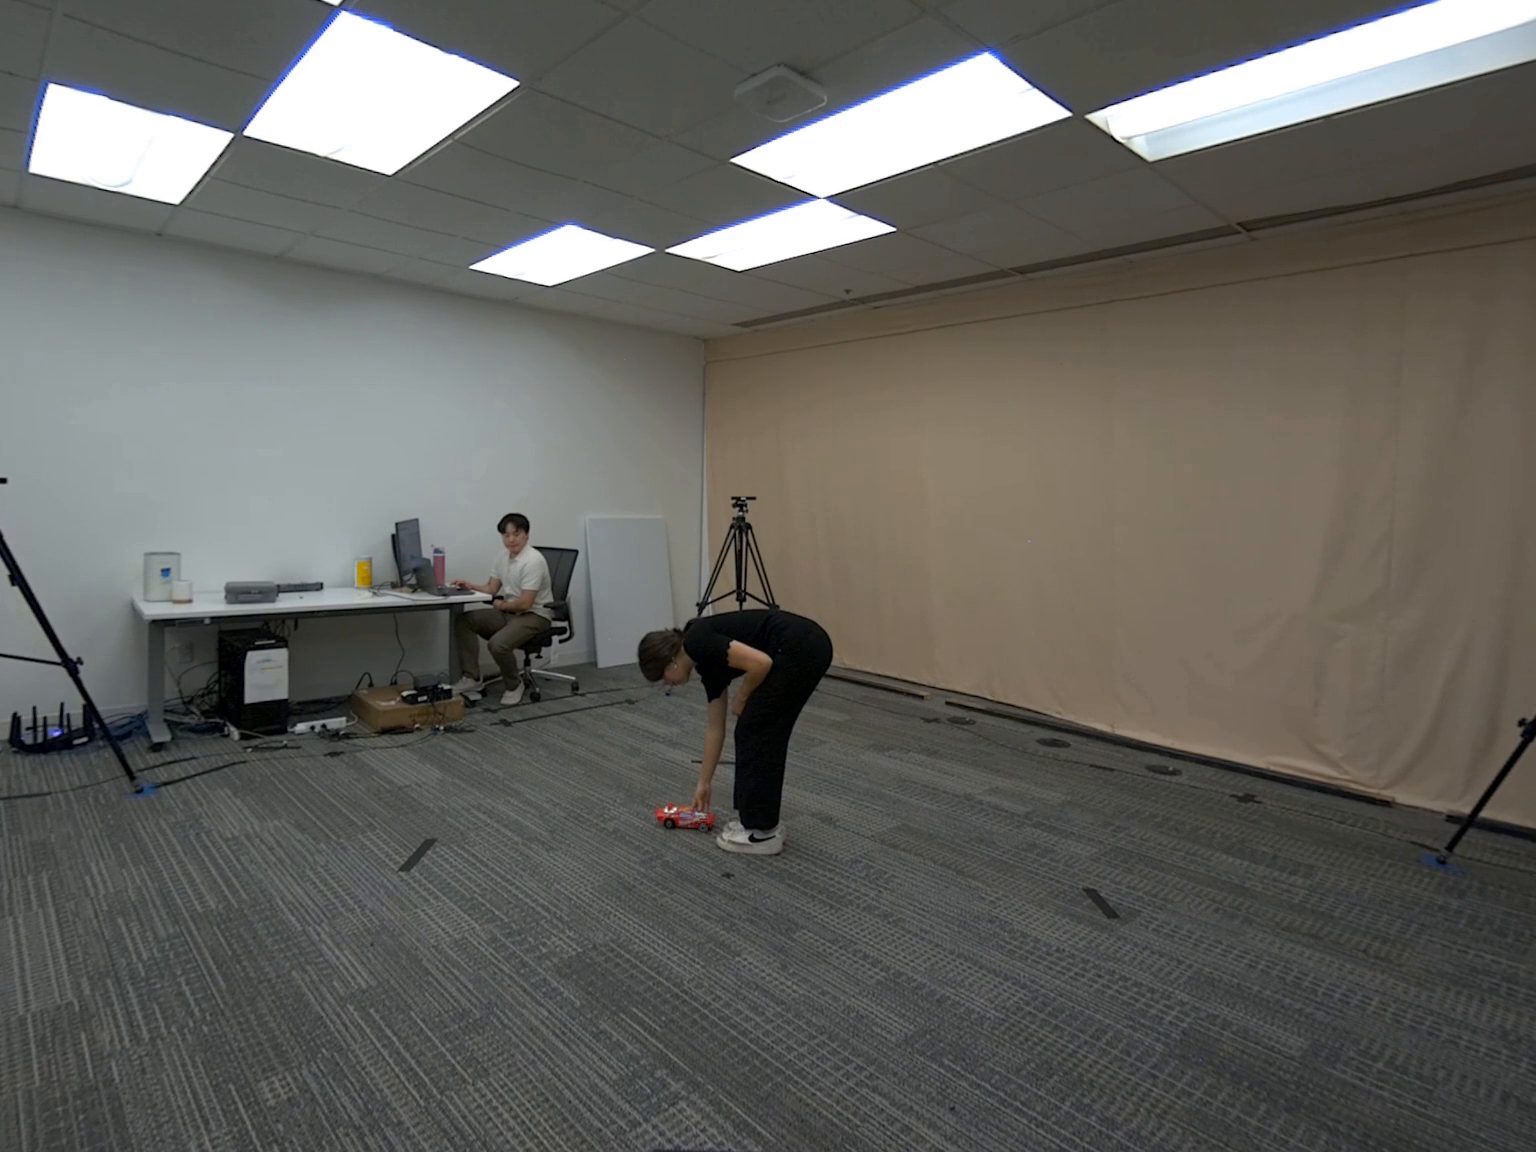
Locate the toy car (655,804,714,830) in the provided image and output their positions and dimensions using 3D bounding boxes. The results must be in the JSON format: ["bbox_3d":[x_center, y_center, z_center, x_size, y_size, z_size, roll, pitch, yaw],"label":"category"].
[{"bbox_3d":[-0.367,1.021,3.570,0.257,0.083,0.129,17,7,9],"label":"toy car"}]
